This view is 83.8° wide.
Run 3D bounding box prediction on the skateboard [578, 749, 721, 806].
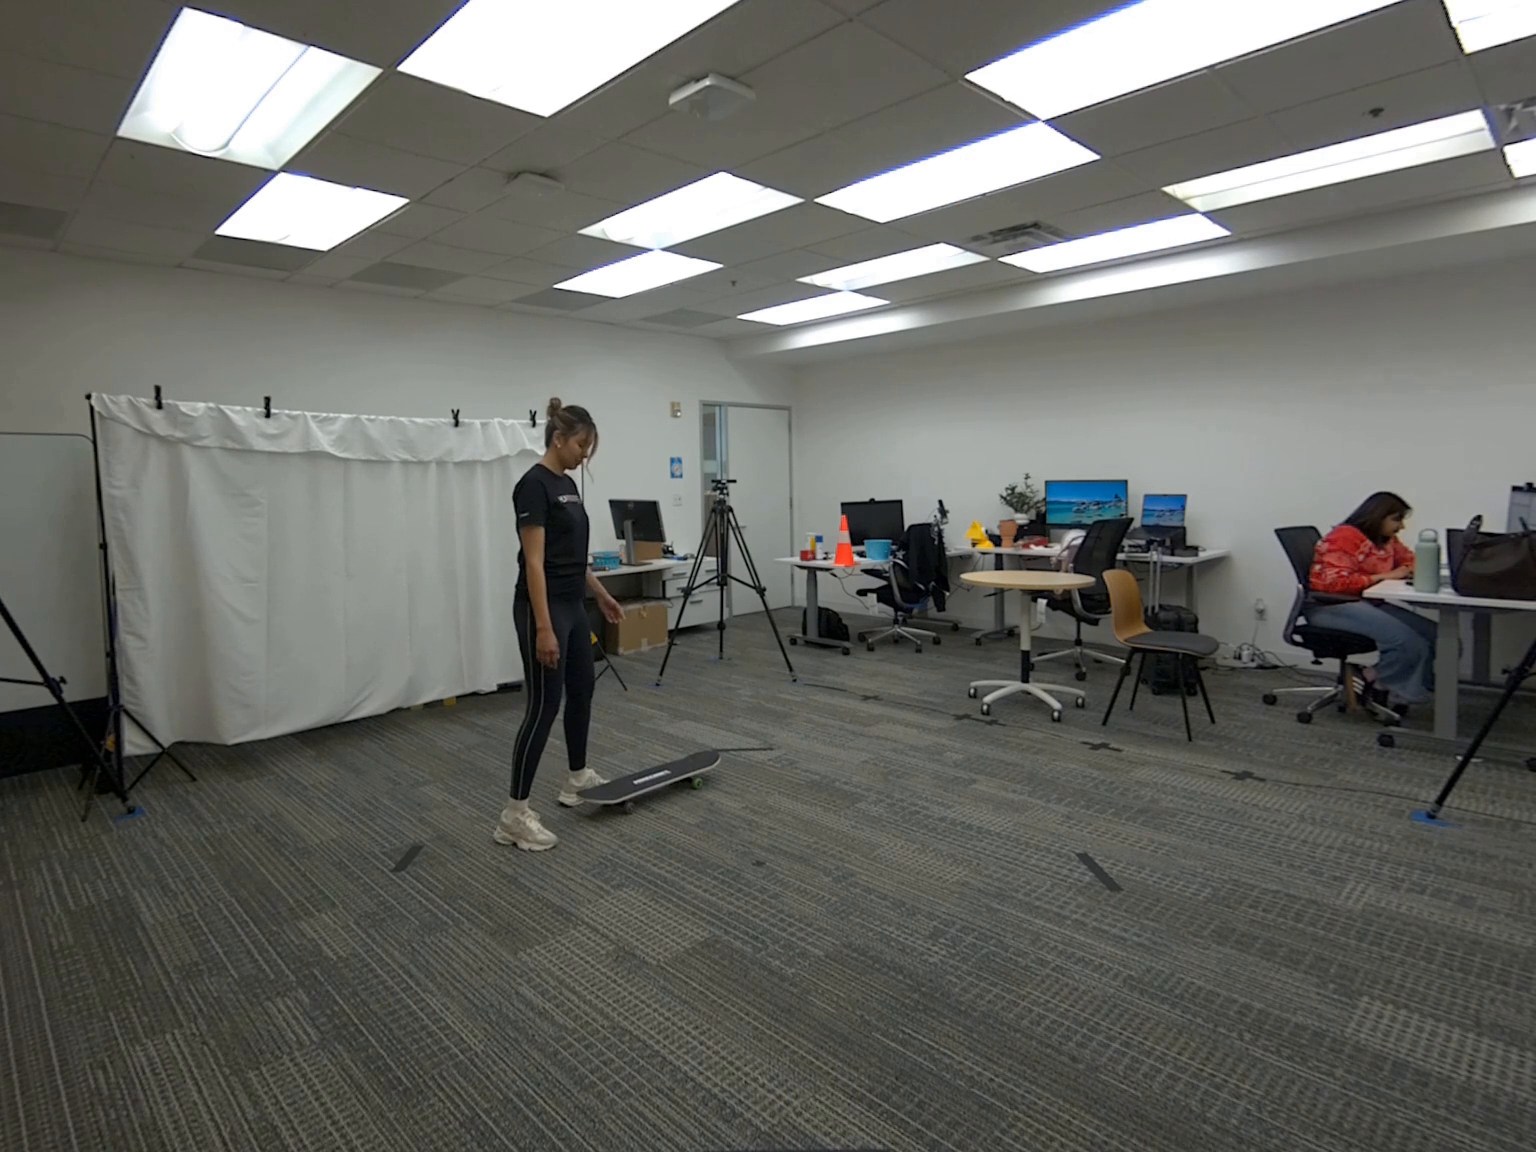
[{"bbox_3d":[-0.513,0.920,3.801,0.199,0.110,0.765,4,8,43],"label":"skateboard"}]
